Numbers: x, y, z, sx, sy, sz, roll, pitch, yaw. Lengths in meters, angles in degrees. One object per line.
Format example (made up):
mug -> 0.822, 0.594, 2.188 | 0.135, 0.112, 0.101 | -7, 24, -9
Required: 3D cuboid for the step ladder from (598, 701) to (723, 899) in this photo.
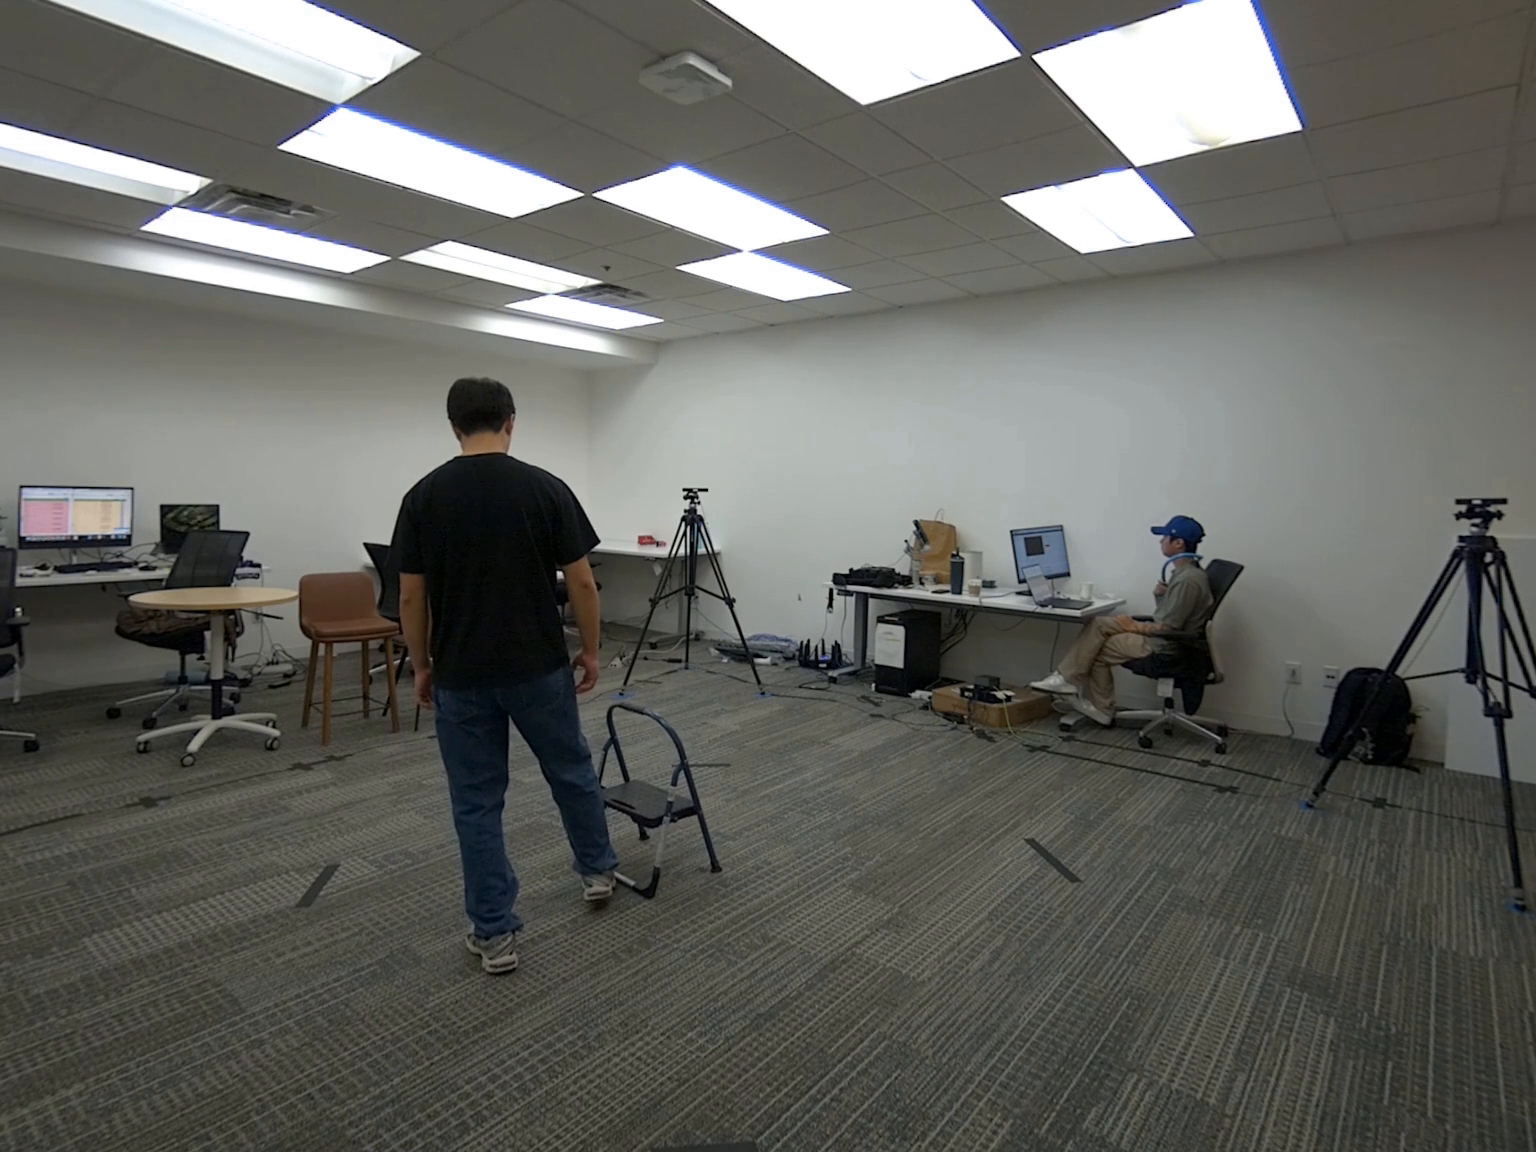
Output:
step ladder -> -0.451, 0.758, 3.109 | 0.445, 0.604, 0.338 | 4, 4, 42
